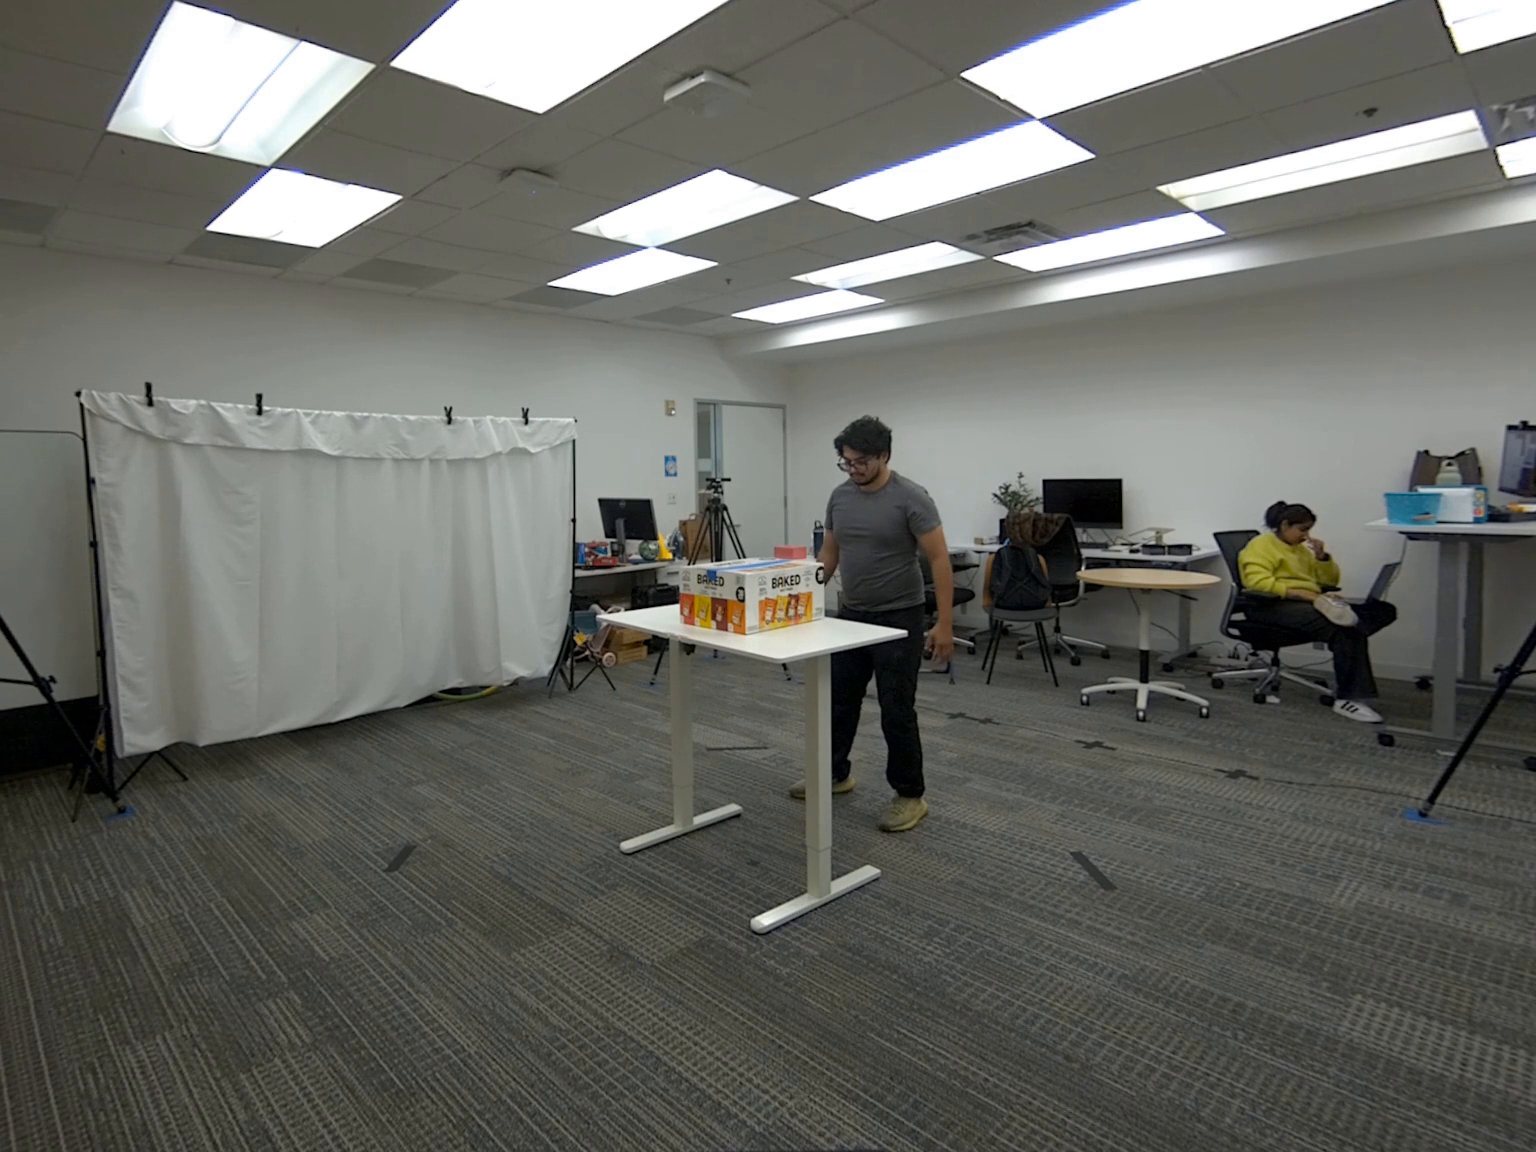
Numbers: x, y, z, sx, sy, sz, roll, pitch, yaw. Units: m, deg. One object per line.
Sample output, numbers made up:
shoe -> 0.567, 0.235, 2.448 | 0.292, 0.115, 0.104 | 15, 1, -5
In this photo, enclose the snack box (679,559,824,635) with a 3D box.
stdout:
snack box -> -0.055, 0.061, 3.065 | 0.395, 0.204, 0.351 | -7, 9, -44
